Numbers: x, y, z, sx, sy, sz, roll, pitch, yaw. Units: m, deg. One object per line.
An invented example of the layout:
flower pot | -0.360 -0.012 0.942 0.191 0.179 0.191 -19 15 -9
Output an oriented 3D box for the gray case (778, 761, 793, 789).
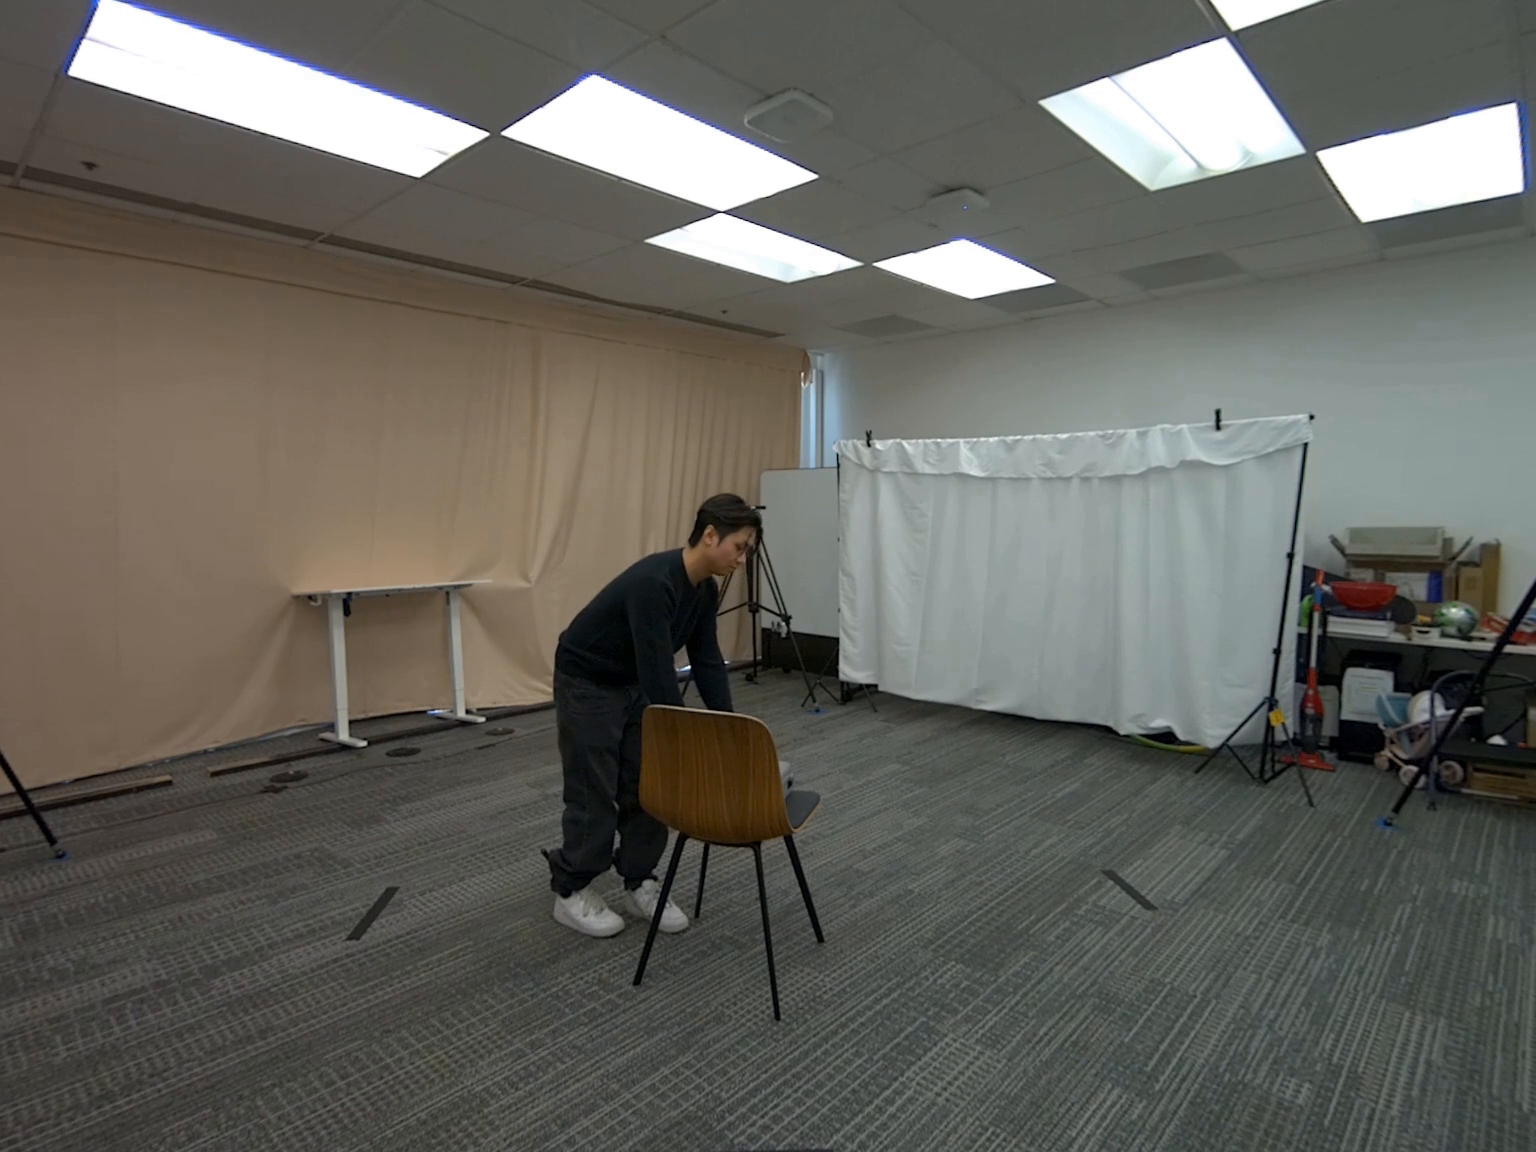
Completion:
gray case | -0.042 0.646 2.574 0.266 0.104 0.252 -5 5 21
